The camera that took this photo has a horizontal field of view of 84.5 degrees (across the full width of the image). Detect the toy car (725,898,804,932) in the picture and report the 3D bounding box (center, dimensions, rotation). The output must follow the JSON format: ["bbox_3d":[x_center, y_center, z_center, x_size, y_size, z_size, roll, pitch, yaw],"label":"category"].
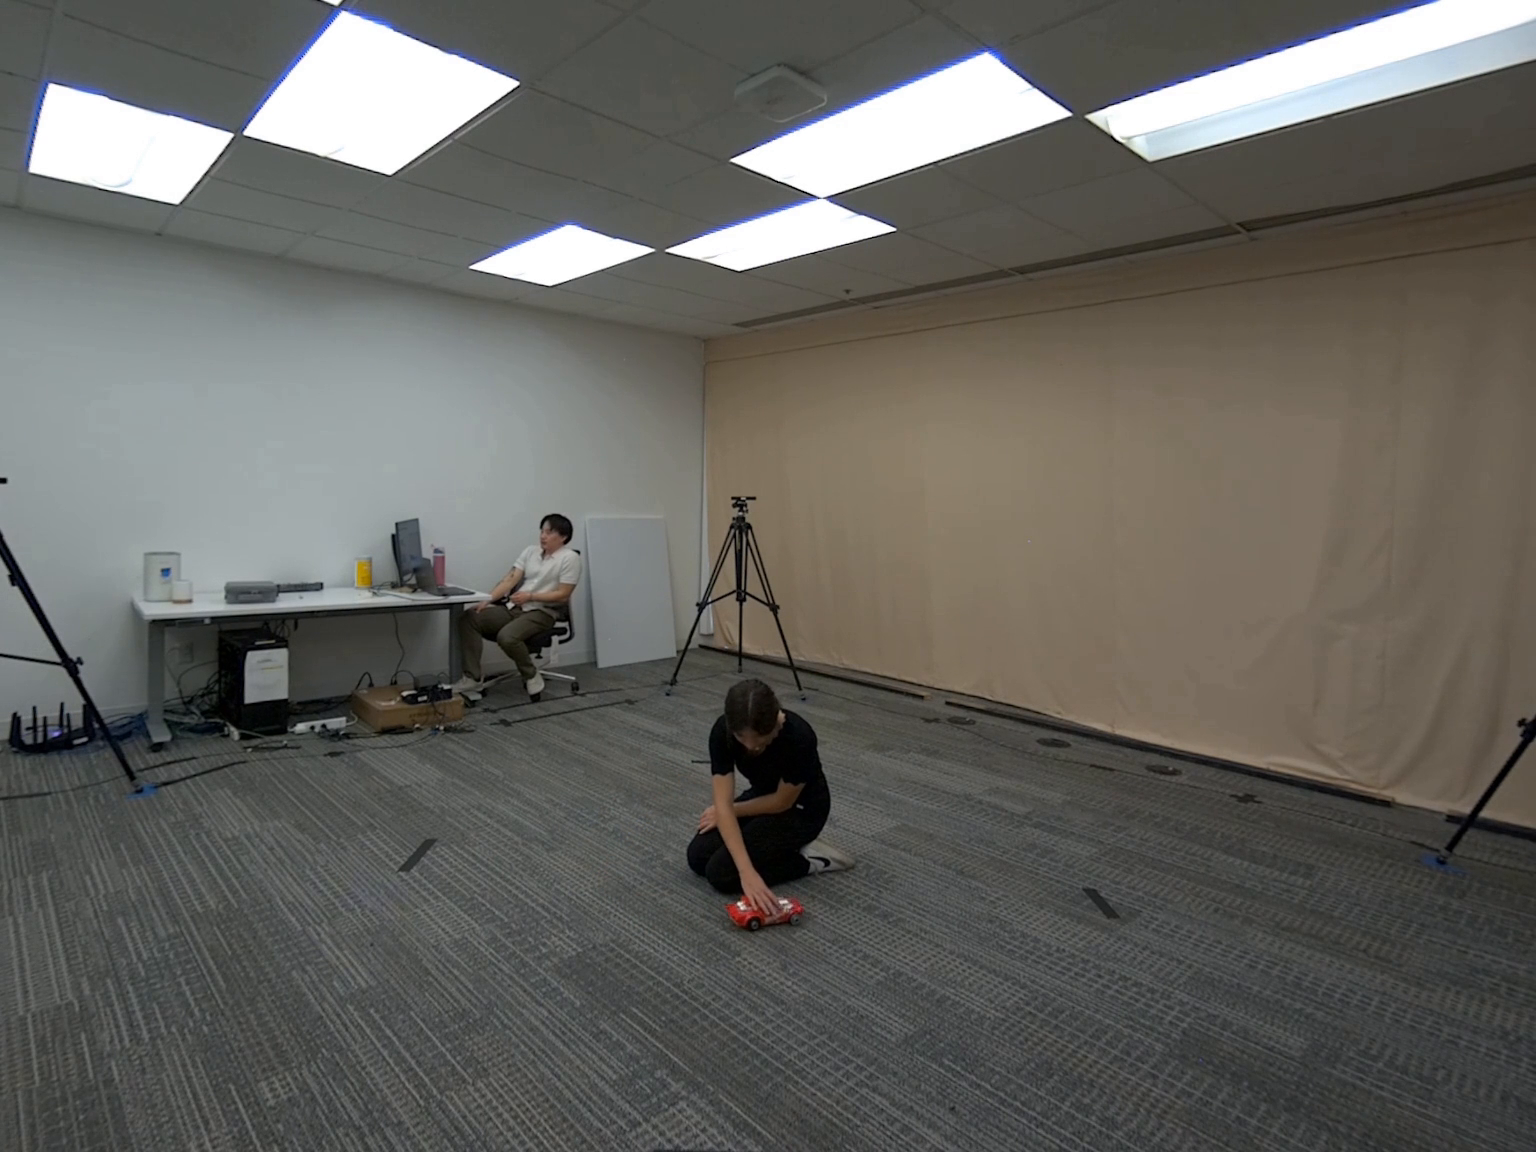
[{"bbox_3d":[-0.037,1.108,2.765,0.250,0.083,0.132,11,1,-19],"label":"toy car"}]
